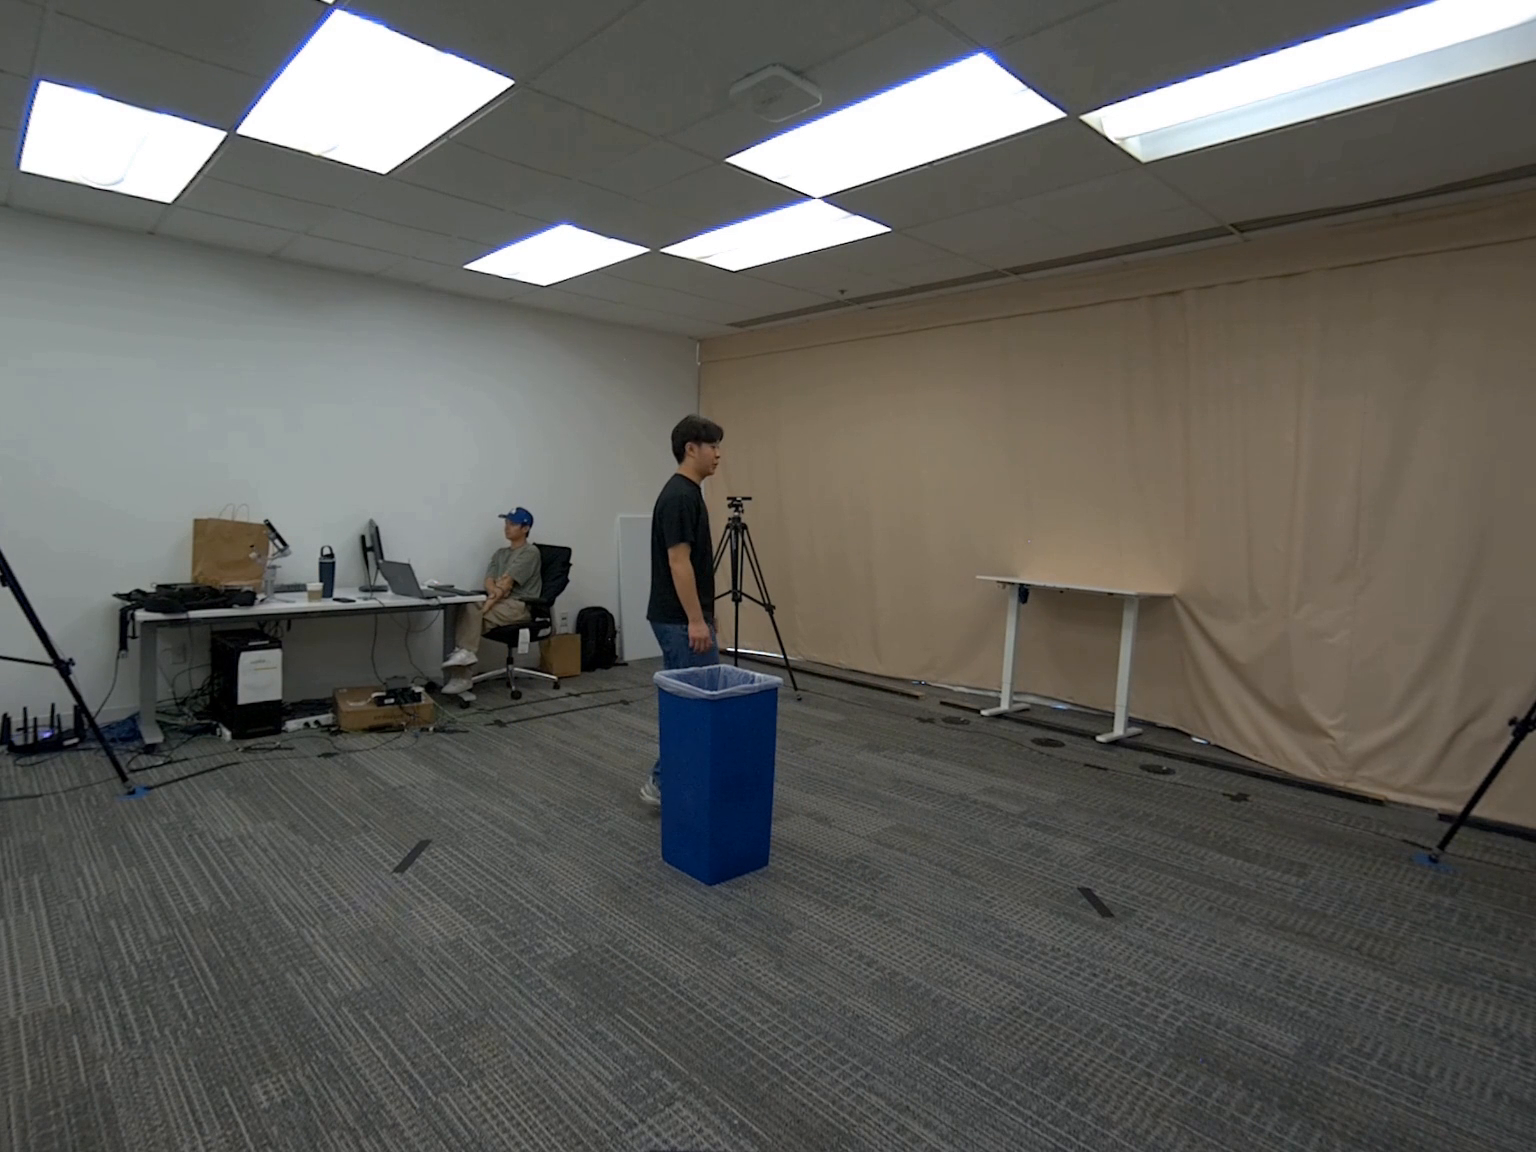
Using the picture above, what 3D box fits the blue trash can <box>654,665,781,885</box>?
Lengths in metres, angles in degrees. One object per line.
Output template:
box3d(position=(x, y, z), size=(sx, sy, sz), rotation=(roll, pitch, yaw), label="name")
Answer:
box3d(position=(-0.200, 0.740, 3.194), size=(0.365, 0.712, 0.388), rotation=(-1, 4, -42), label="blue trash can")
